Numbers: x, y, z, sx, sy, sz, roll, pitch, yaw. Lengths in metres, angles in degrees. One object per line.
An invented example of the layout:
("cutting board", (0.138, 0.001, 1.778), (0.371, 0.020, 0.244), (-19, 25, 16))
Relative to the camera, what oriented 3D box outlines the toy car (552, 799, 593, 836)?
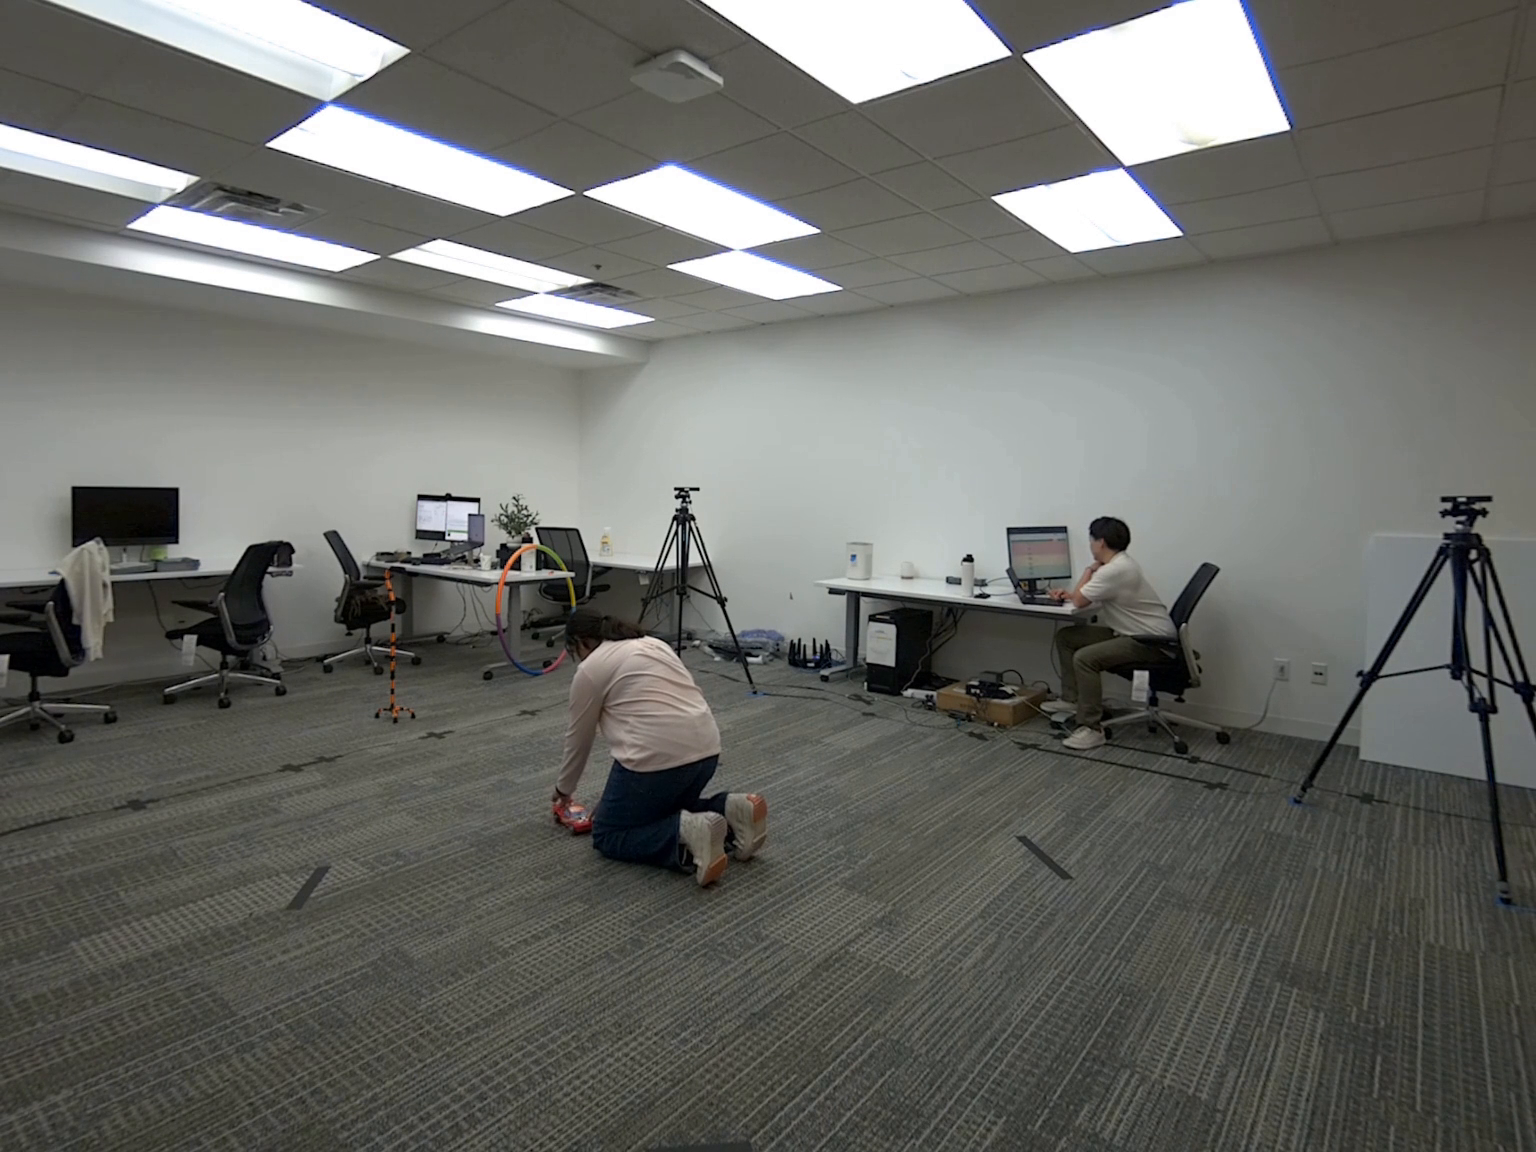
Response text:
("toy car", (-0.807, 0.990, 3.497), (0.126, 0.082, 0.265), (-2, 16, -36))
